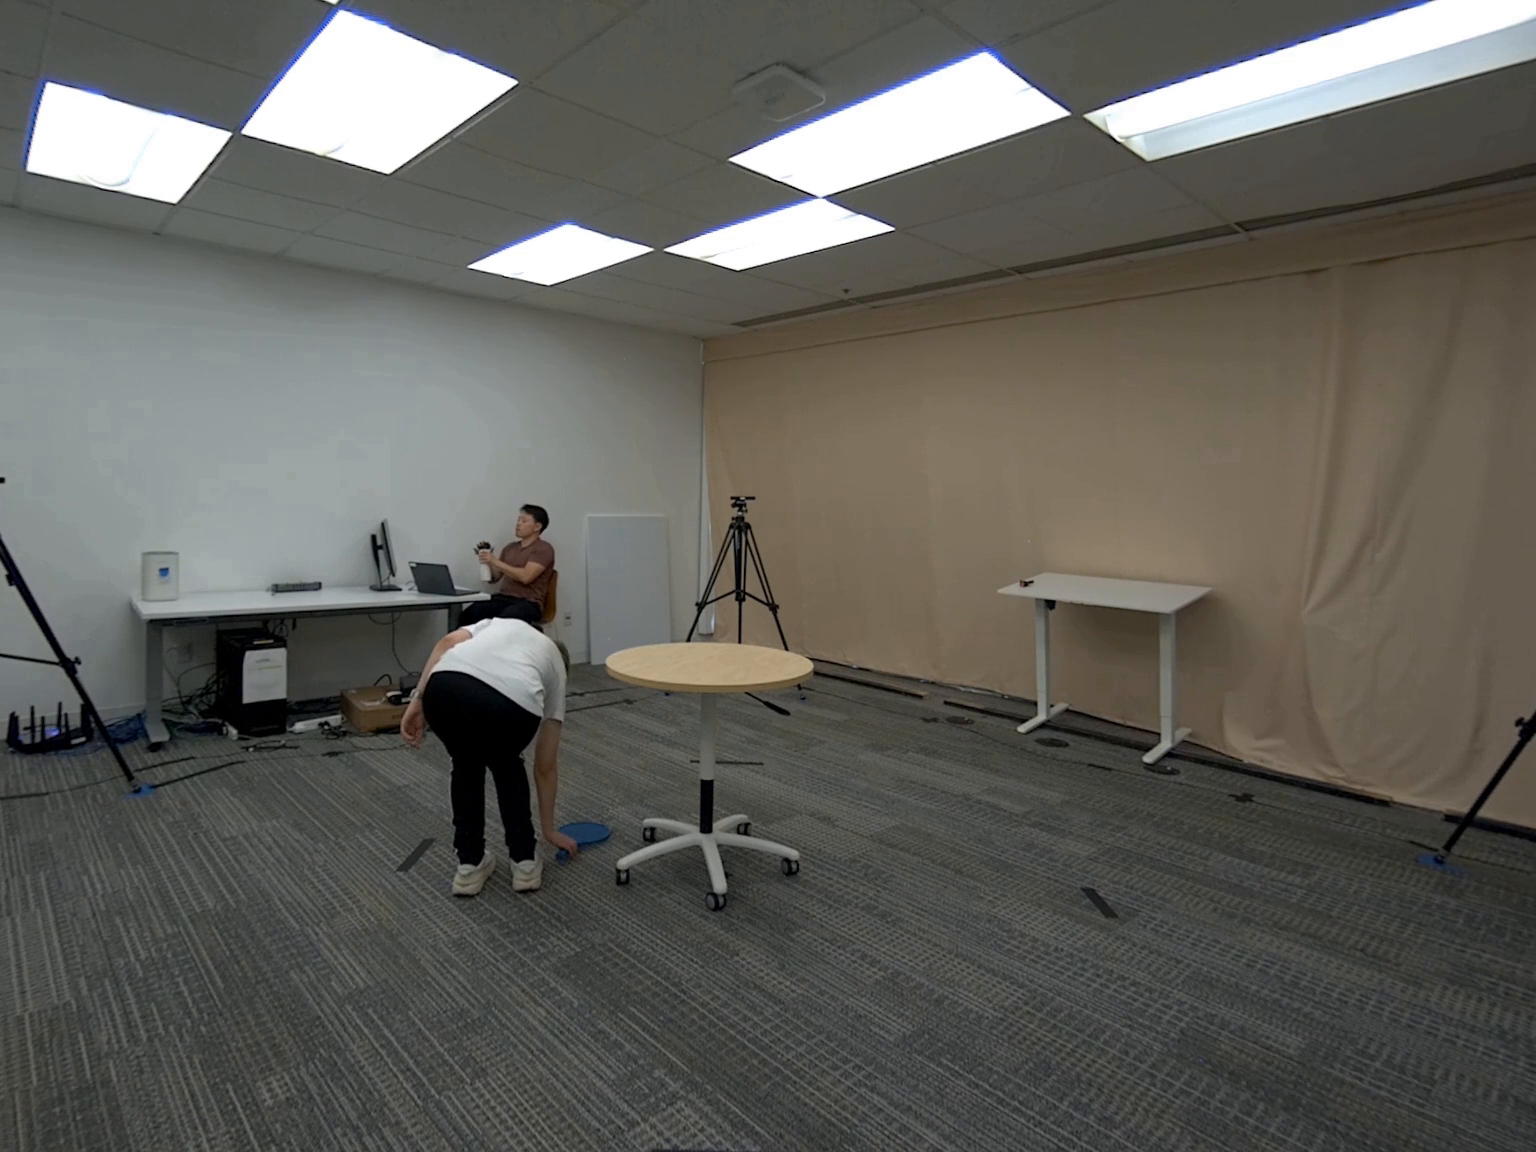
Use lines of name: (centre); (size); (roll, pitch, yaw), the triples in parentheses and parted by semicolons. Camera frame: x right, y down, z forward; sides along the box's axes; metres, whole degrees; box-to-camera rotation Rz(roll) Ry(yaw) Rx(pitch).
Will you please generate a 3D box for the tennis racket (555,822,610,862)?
tennis racket: (-0.761, 1.039, 3.345); (0.214, 0.032, 0.431); (4, 1, 2)
